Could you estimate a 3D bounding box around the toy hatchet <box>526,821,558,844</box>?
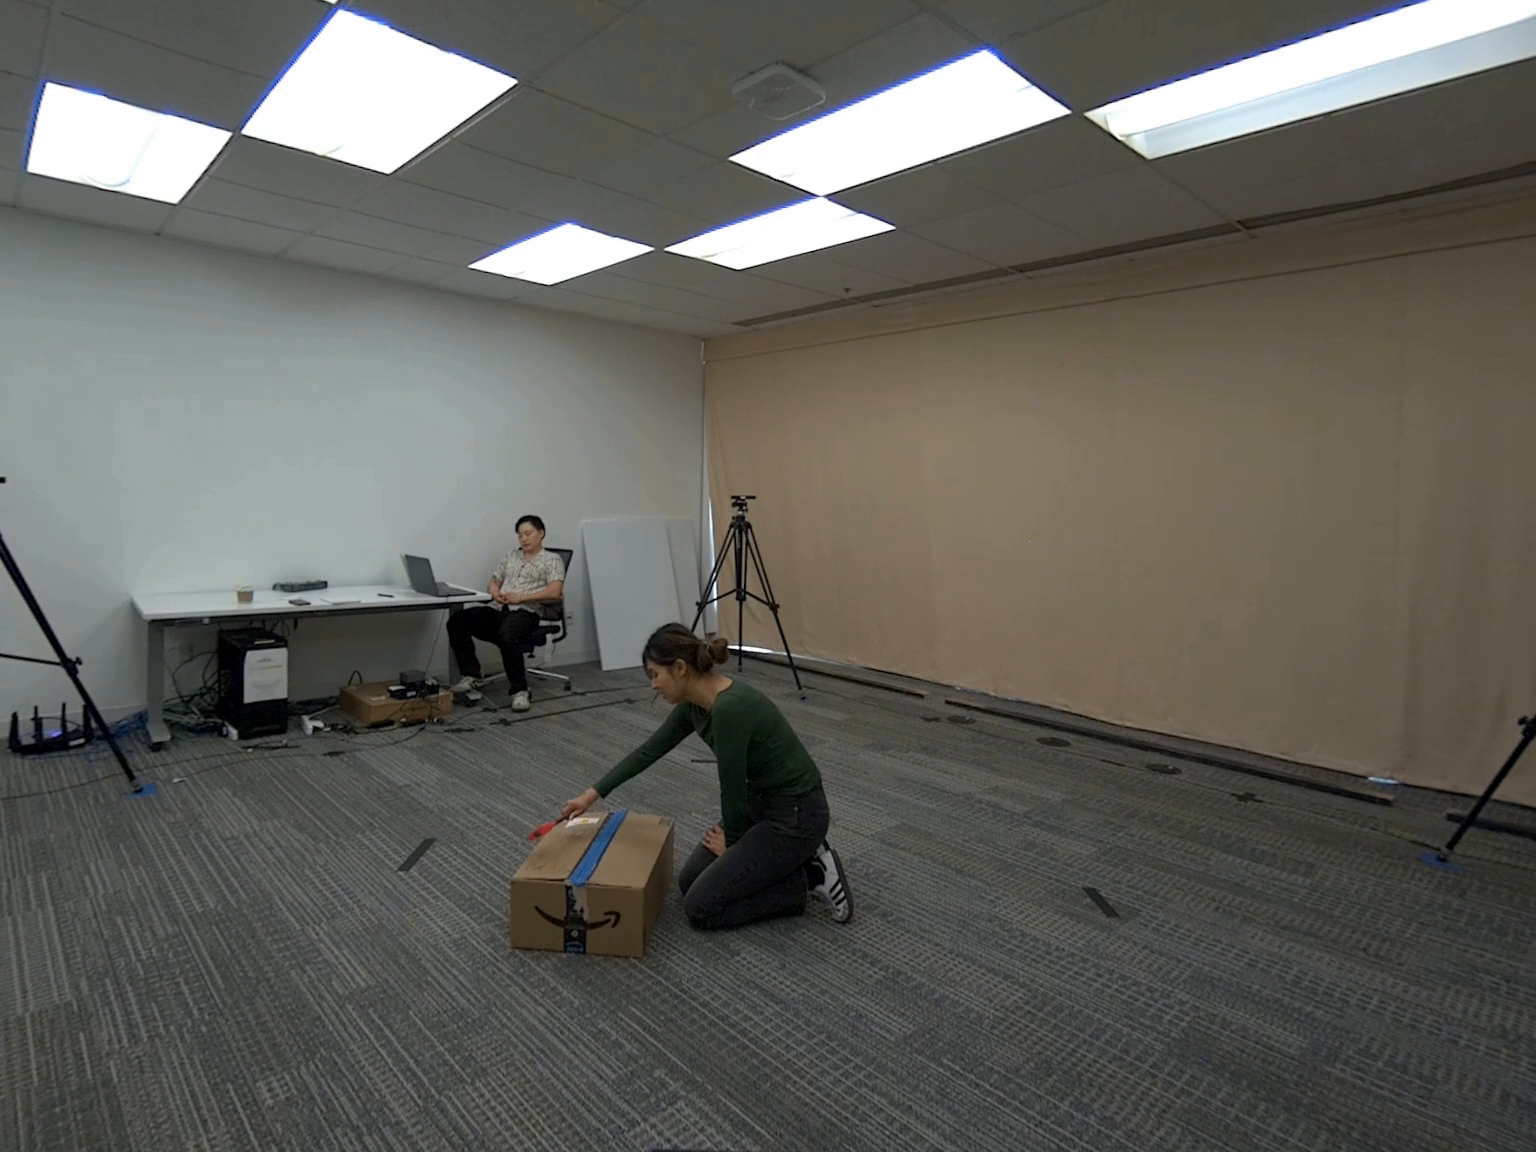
[{"bbox_3d":[-0.704,0.836,2.827,0.131,0.030,0.266,-34,-9,5],"label":"toy hatchet"}]
